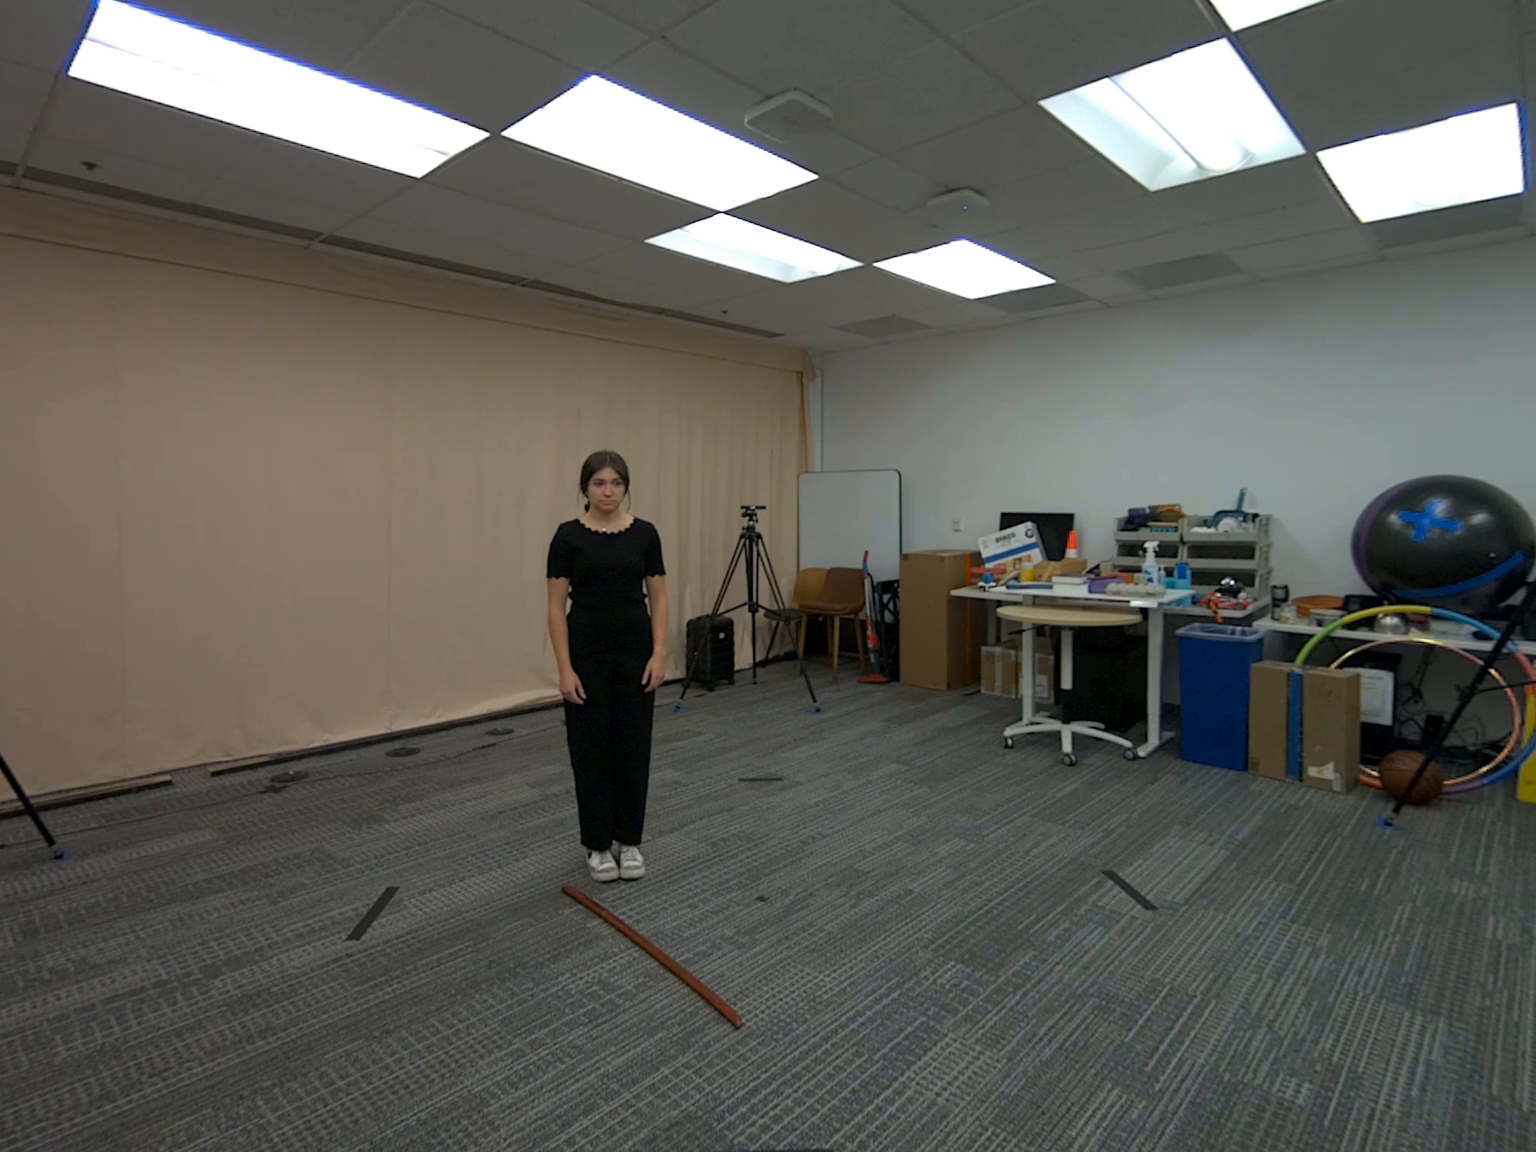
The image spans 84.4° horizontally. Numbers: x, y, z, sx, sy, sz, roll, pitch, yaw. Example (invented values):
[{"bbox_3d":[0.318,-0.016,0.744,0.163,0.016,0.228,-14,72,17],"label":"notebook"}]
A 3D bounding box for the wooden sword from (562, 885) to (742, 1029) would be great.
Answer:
[{"bbox_3d":[-0.388,1.152,2.663,0.050,0.024,1.058,-10,10,-37],"label":"wooden sword"}]
